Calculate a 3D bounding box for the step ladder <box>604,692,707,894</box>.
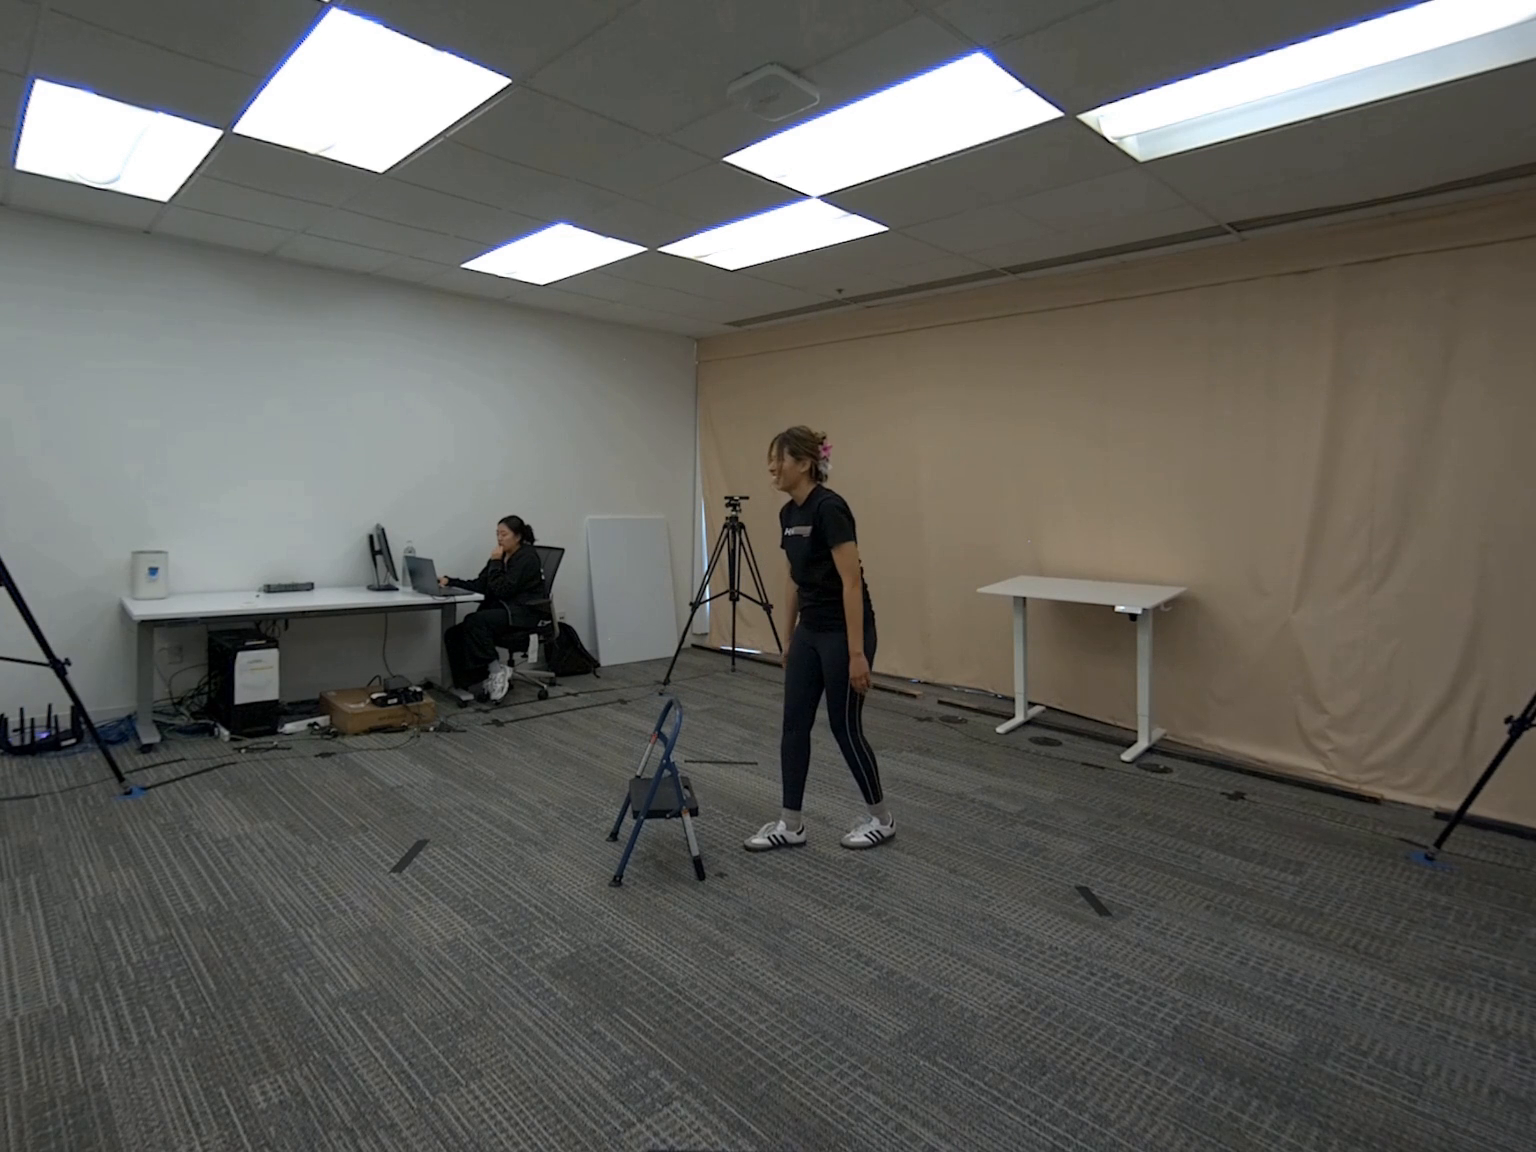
[{"bbox_3d":[-0.439,0.792,3.205,0.346,0.604,0.435,0,4,-11],"label":"step ladder"}]
